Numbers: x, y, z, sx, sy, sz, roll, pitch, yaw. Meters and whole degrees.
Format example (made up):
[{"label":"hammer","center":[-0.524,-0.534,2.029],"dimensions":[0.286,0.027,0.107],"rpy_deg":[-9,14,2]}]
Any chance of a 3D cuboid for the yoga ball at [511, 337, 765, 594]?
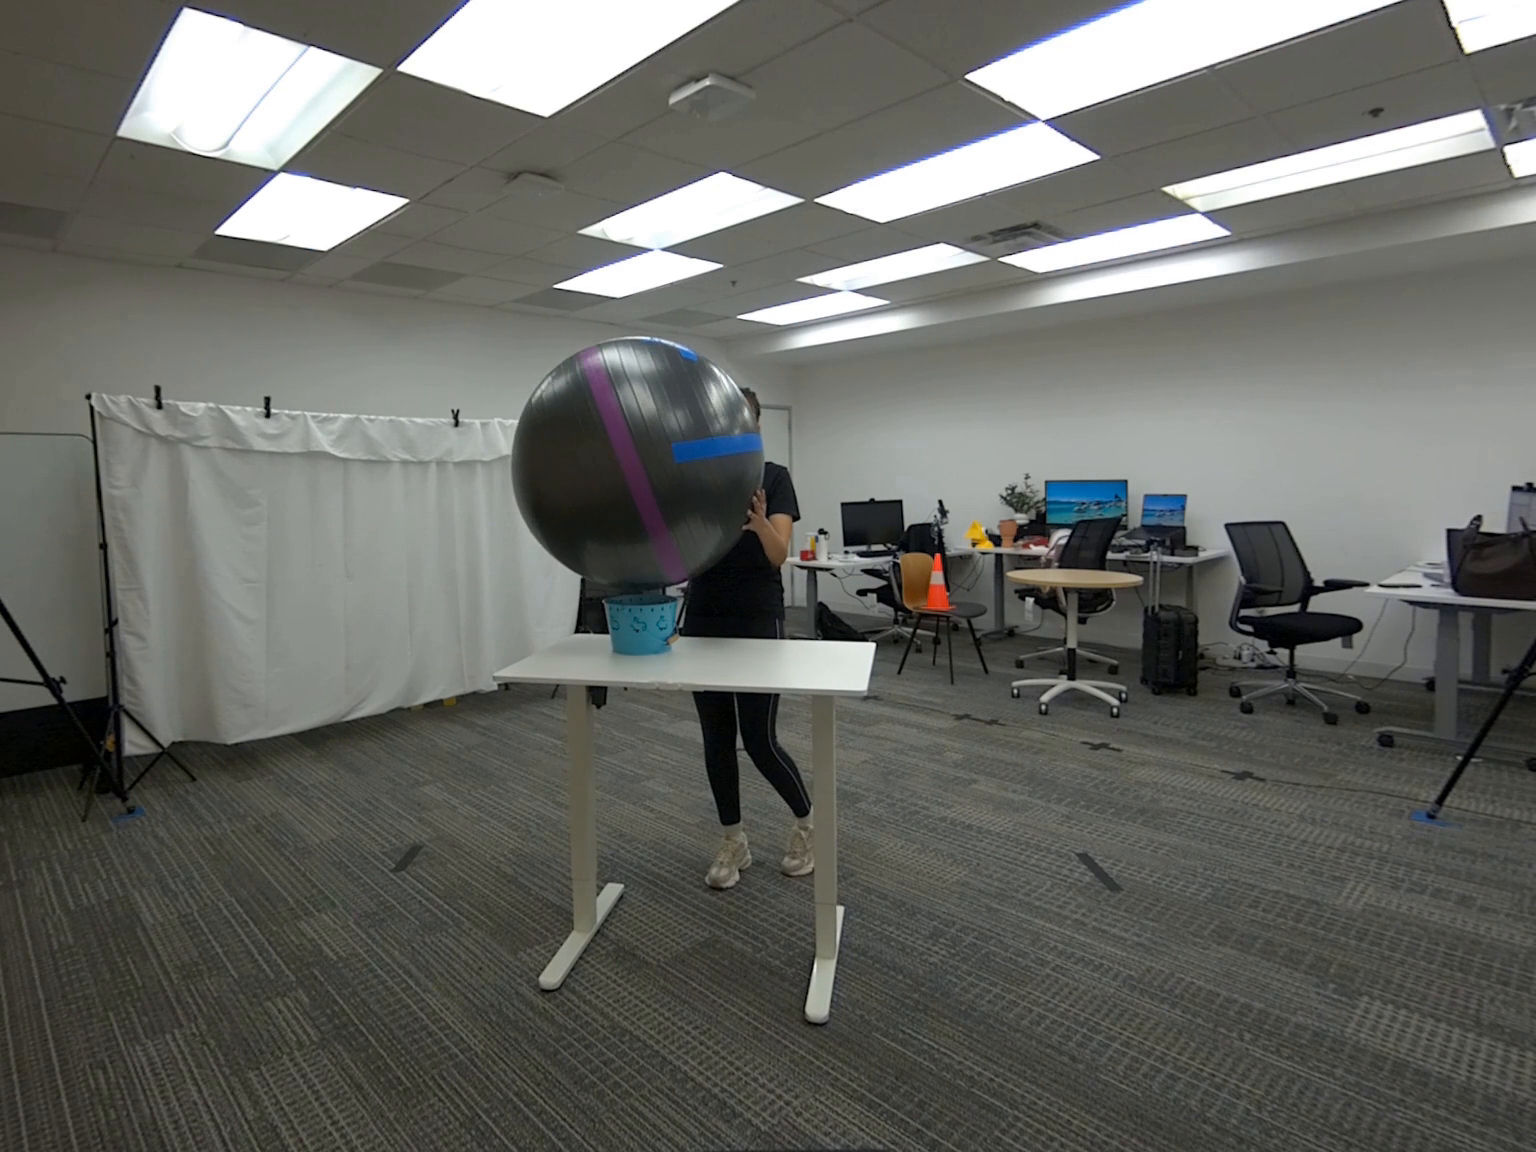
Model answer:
[{"label":"yoga ball","center":[-0.389,-0.327,2.590],"dimensions":[0.757,0.755,0.762],"rpy_deg":[-1,5,-2]}]
